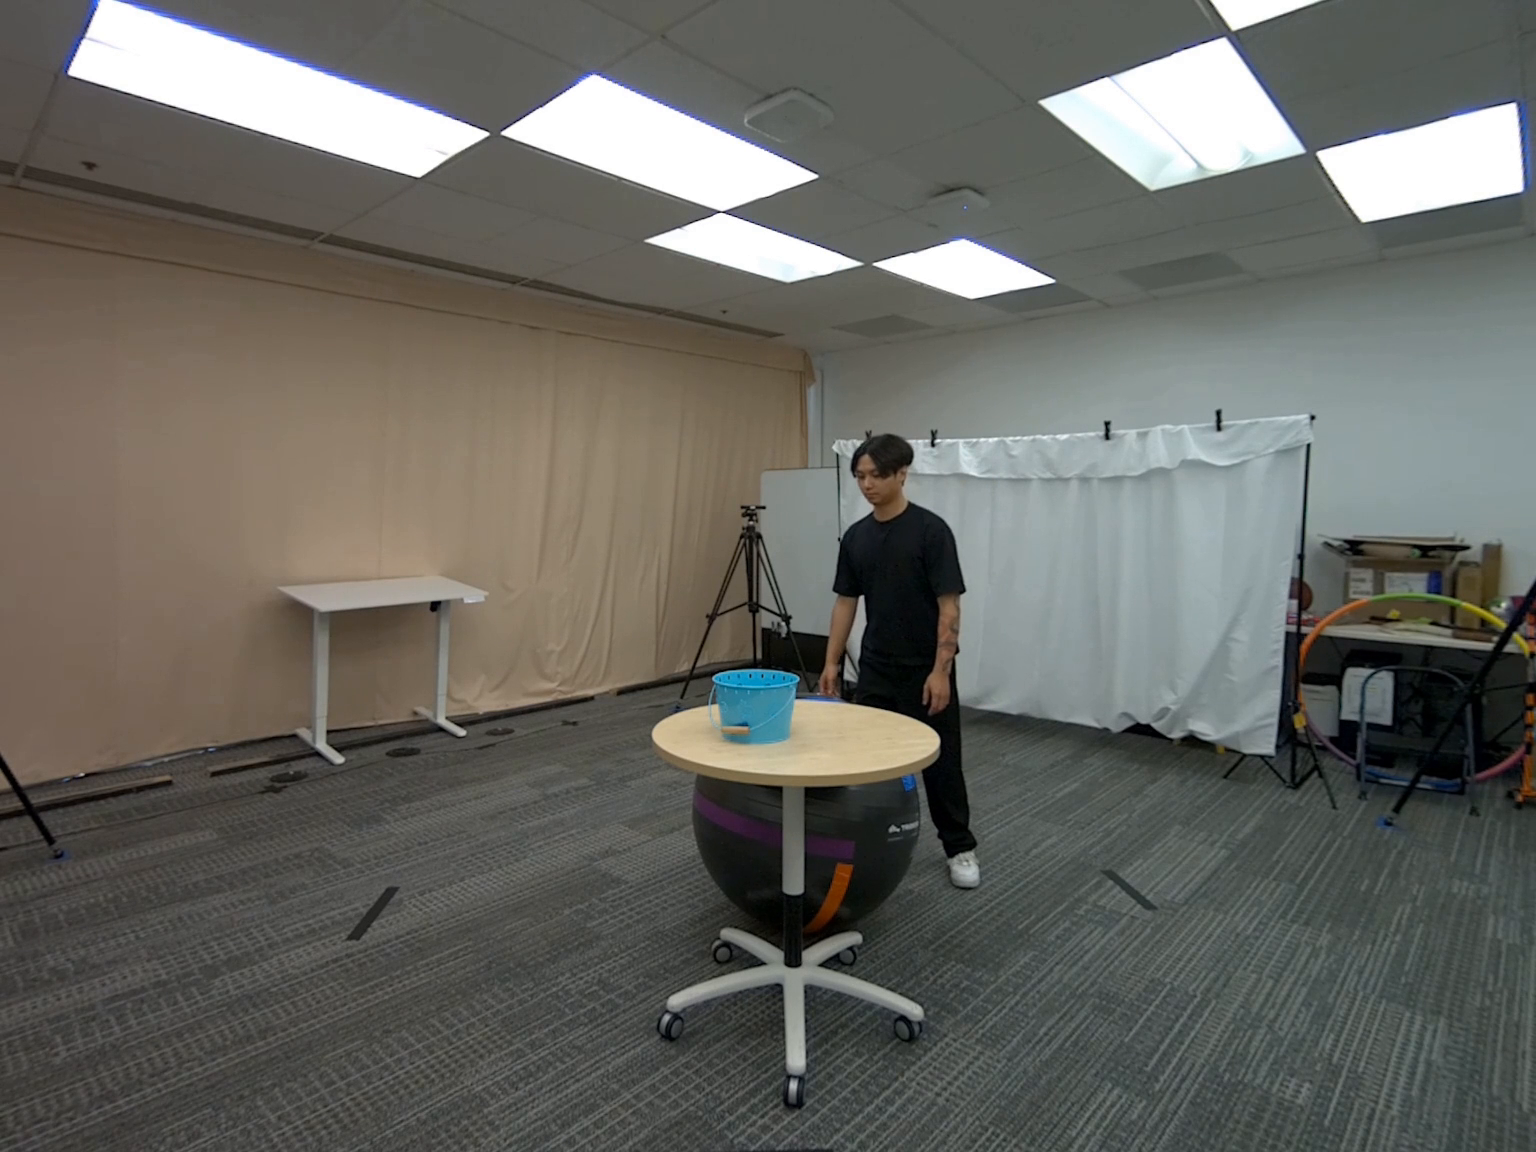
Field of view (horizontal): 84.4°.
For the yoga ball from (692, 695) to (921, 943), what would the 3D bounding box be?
[{"bbox_3d":[0.124,0.788,2.824,0.757,0.756,0.760,0,4,-2],"label":"yoga ball"}]
